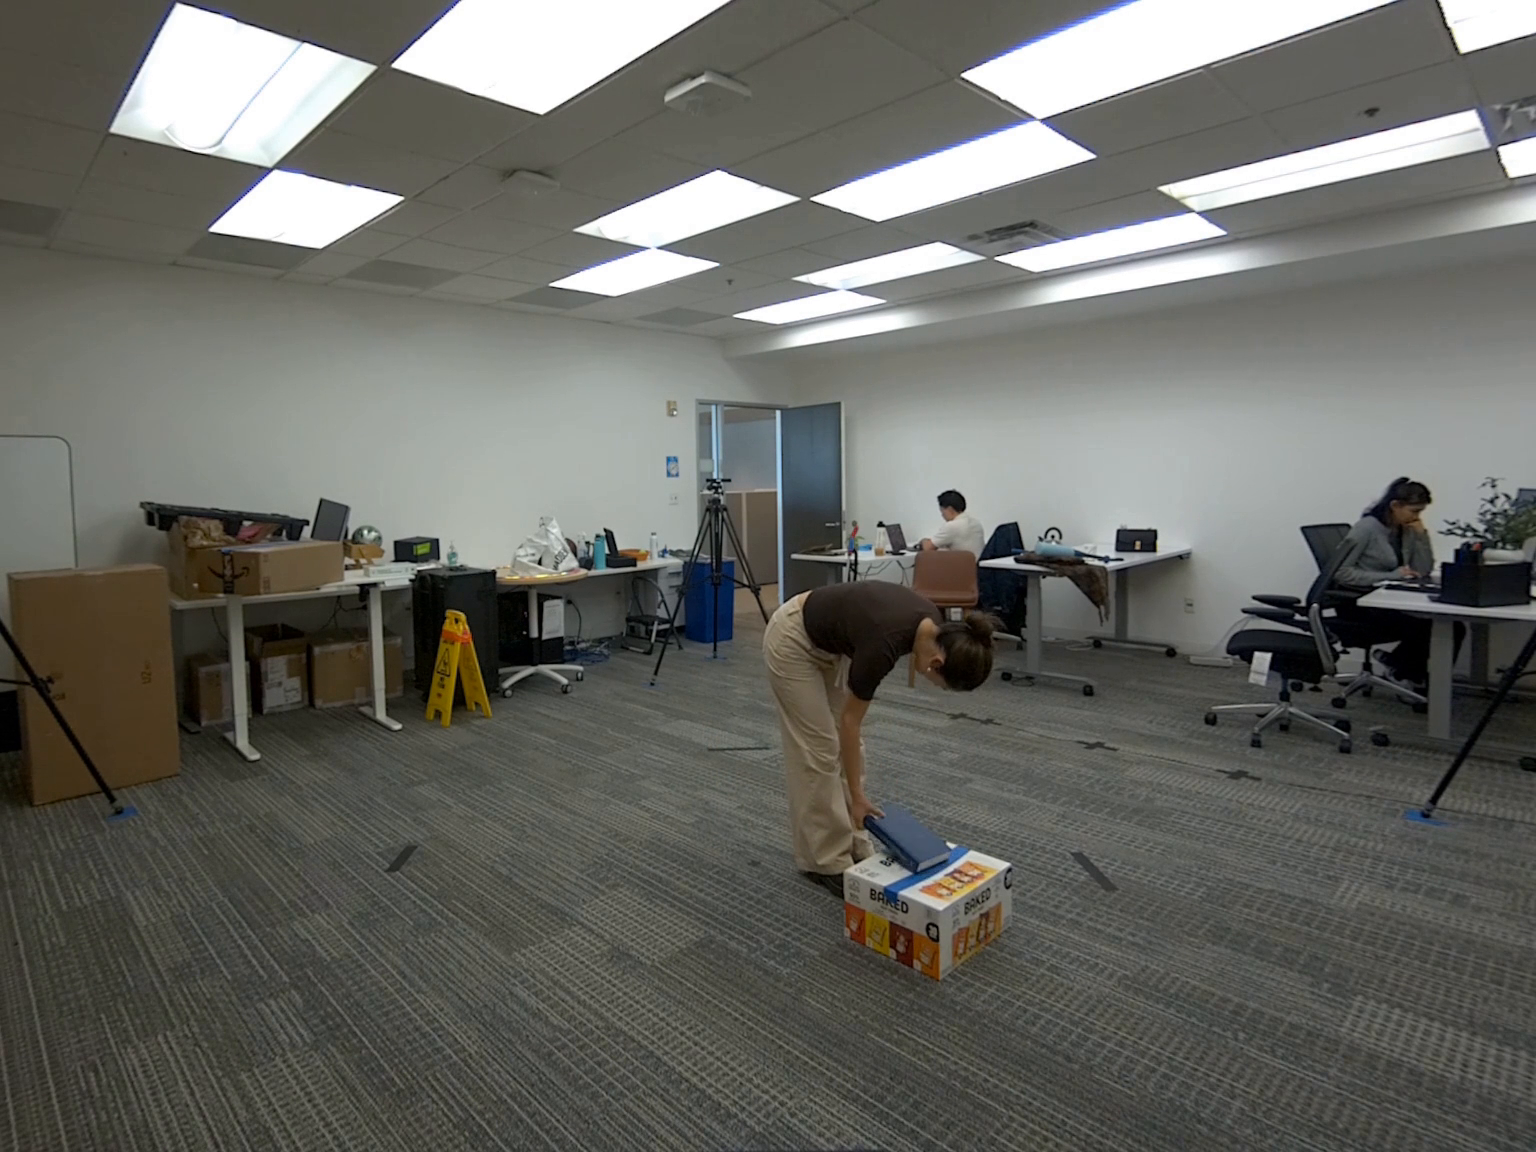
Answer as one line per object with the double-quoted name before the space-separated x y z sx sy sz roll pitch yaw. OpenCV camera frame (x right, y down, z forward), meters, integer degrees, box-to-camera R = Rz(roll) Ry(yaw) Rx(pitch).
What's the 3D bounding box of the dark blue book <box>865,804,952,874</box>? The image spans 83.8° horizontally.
"dark blue book" 0.458 0.840 2.697 0.159 0.045 0.254 -3 21 -39
